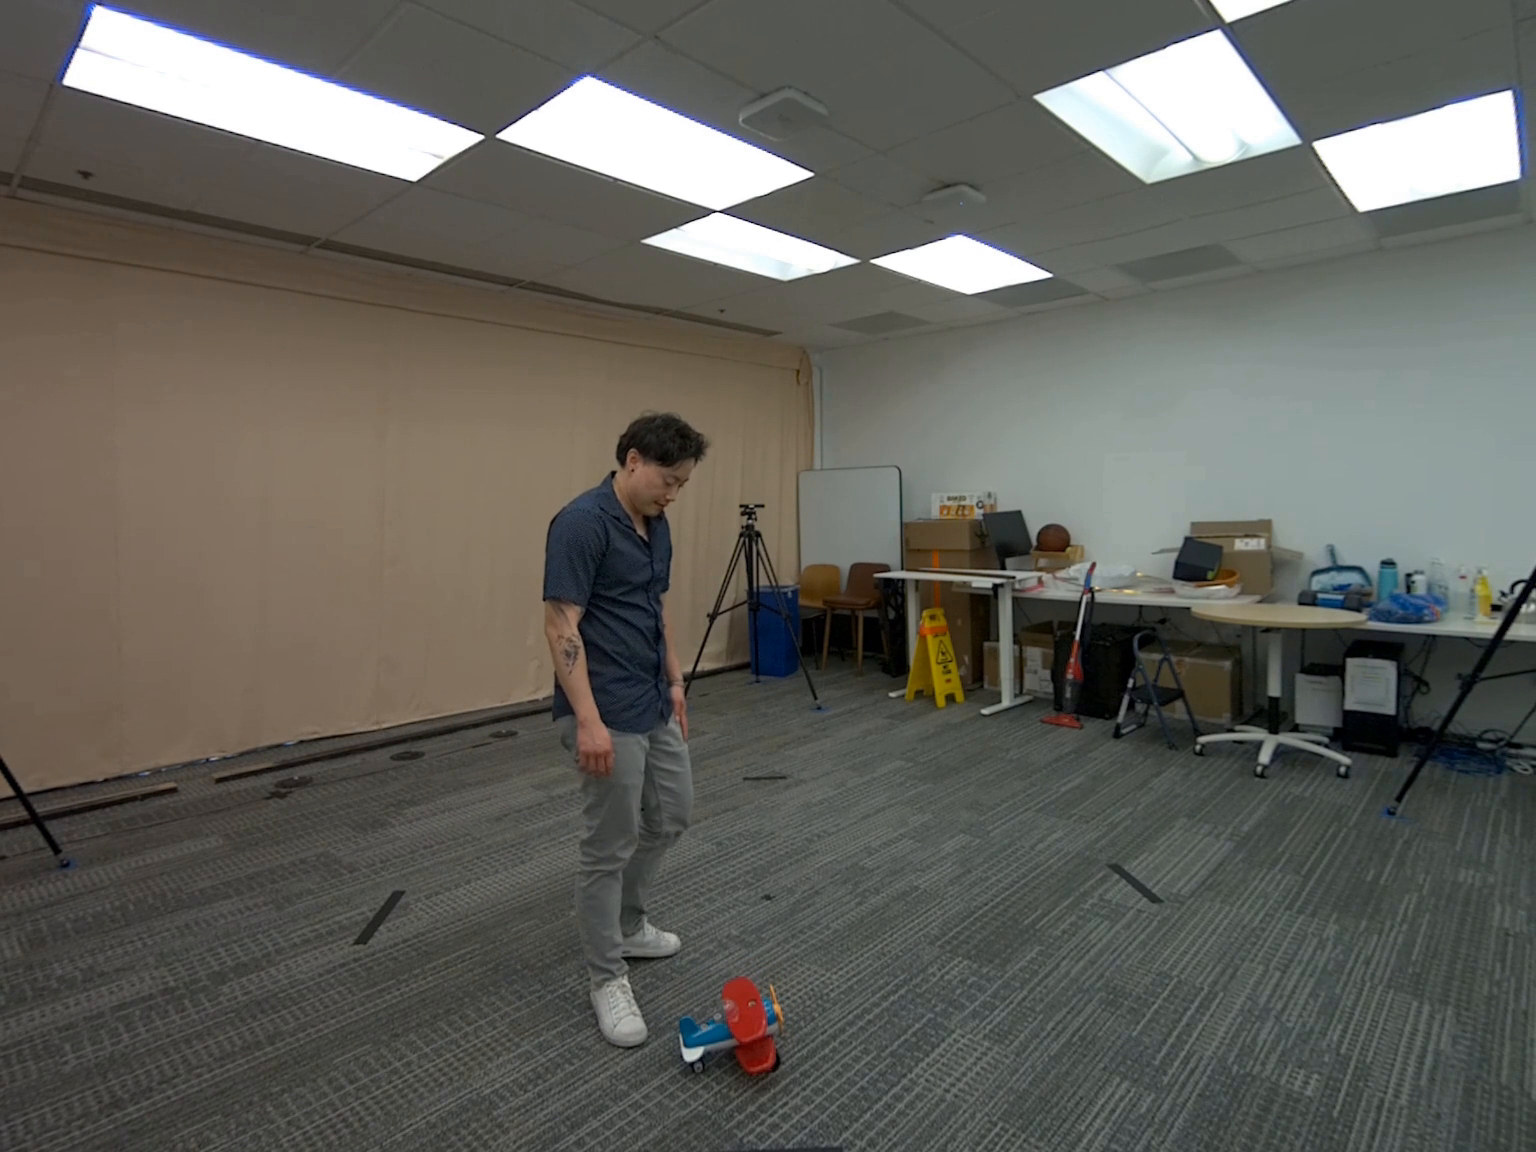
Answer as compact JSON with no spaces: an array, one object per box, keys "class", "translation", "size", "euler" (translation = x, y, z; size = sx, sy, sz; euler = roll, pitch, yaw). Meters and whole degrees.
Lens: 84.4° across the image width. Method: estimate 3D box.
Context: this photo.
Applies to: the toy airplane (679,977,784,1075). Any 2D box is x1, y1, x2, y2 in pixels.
[{"class":"toy airplane","translation":[-0.083,1.150,2.074],"size":[0.251,0.156,0.259],"euler":[-4,6,-38]}]
